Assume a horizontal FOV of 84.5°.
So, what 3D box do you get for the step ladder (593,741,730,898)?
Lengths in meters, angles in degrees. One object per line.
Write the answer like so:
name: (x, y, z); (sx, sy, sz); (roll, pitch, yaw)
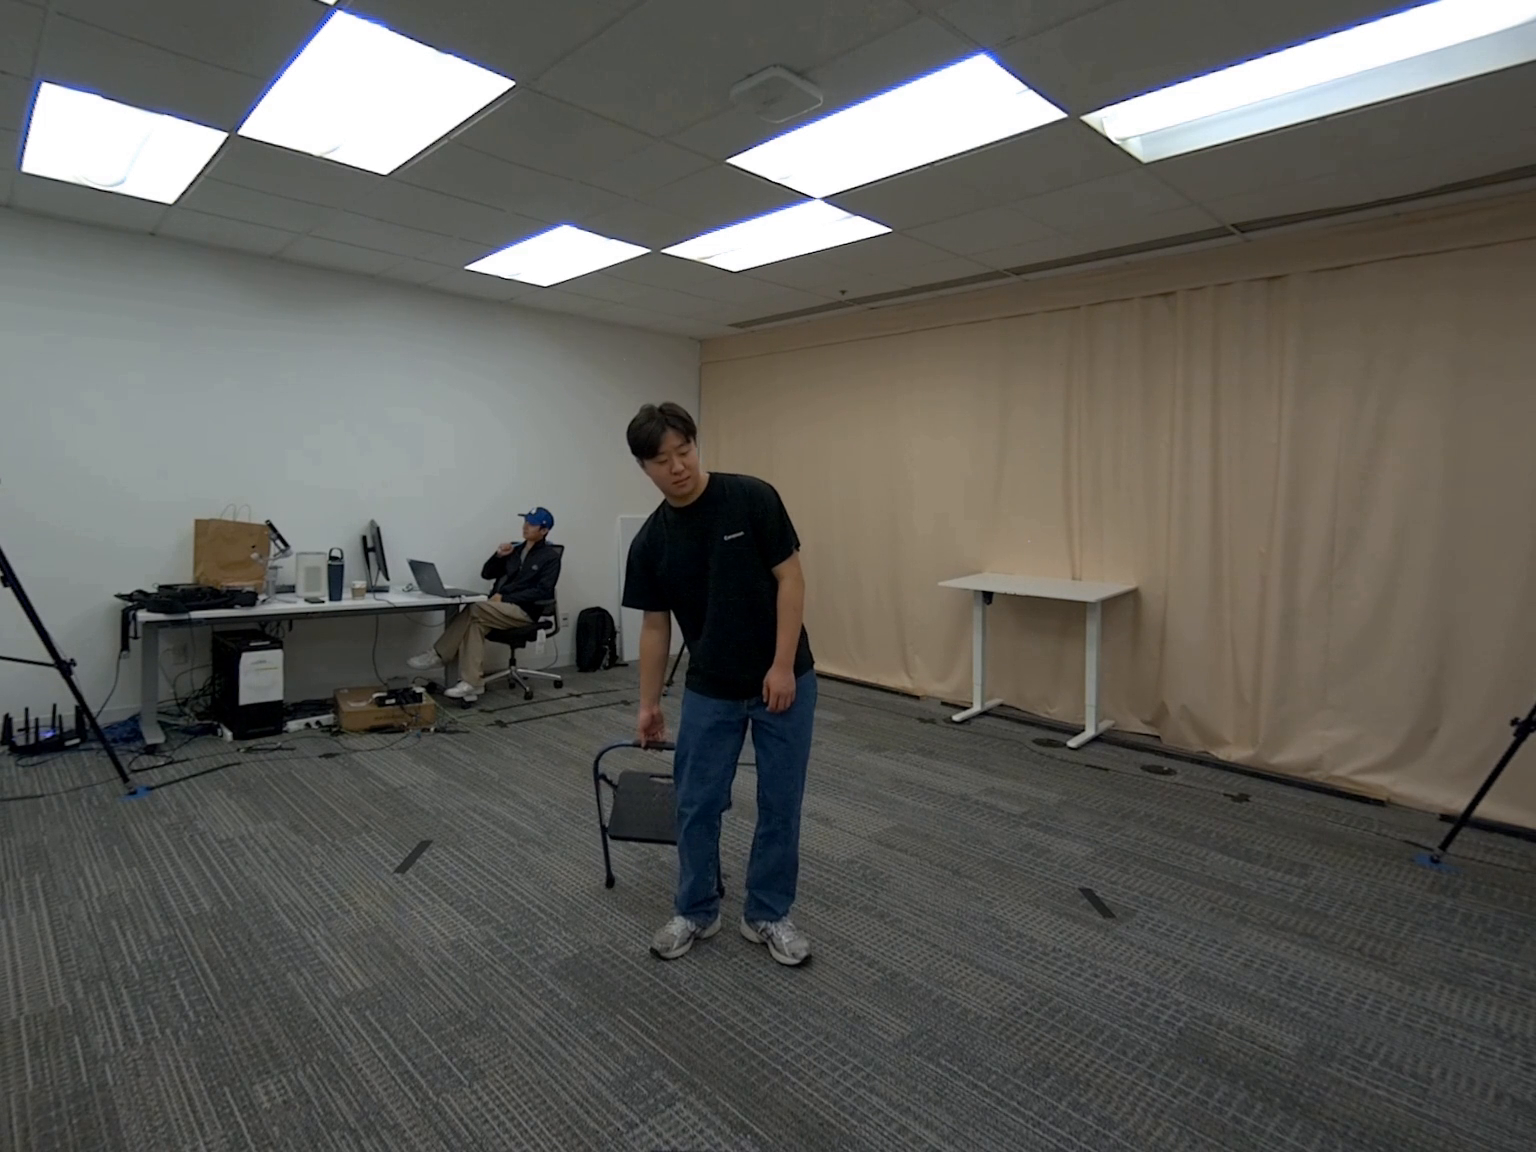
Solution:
step ladder: (-0.373, 0.787, 2.855); (0.433, 0.356, 0.591); (2, -41, 6)
